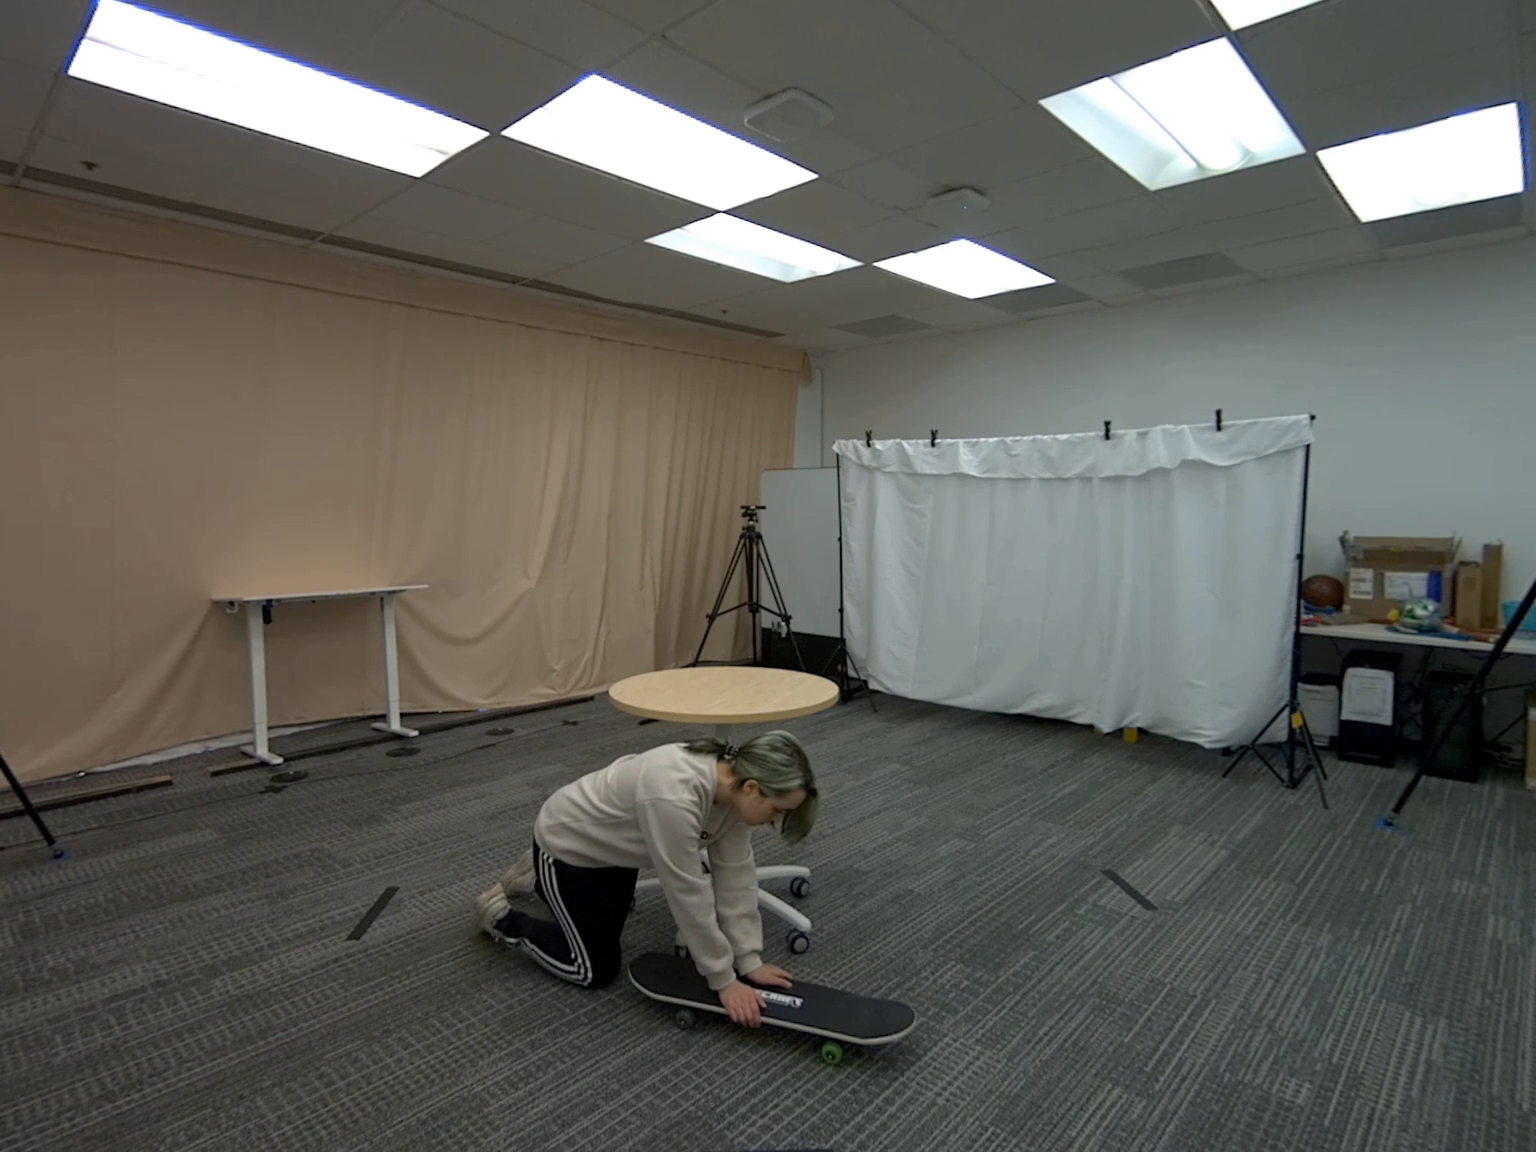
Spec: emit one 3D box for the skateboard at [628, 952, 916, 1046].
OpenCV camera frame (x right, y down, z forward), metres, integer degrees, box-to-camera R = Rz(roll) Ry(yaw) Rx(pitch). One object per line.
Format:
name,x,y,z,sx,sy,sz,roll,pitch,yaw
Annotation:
skateboard,-0.004,1.138,2.247,0.802,0.110,0.190,1,4,20
